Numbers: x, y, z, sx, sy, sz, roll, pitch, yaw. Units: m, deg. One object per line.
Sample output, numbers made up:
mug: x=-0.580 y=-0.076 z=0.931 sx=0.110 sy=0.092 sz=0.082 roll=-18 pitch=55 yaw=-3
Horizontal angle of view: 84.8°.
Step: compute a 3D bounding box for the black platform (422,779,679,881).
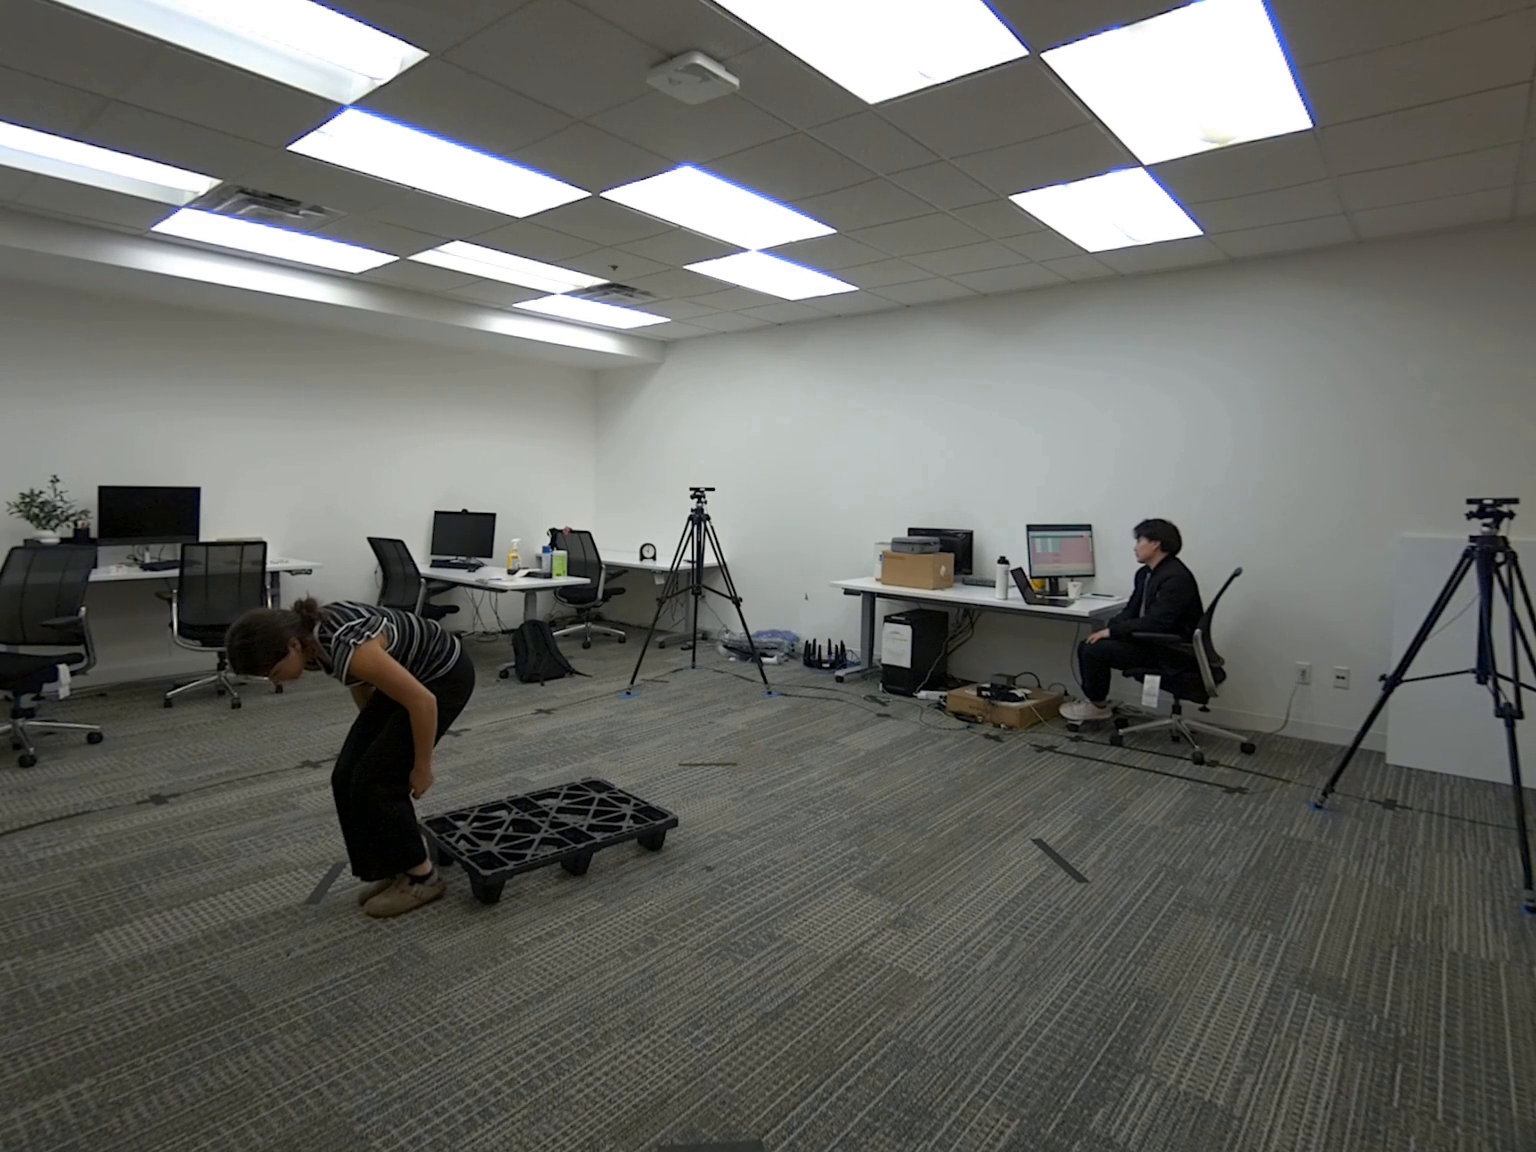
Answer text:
black platform: x=-0.844 y=0.978 z=3.218 sx=0.781 sy=0.143 sz=0.625 roll=-4 pitch=6 yaw=-42
